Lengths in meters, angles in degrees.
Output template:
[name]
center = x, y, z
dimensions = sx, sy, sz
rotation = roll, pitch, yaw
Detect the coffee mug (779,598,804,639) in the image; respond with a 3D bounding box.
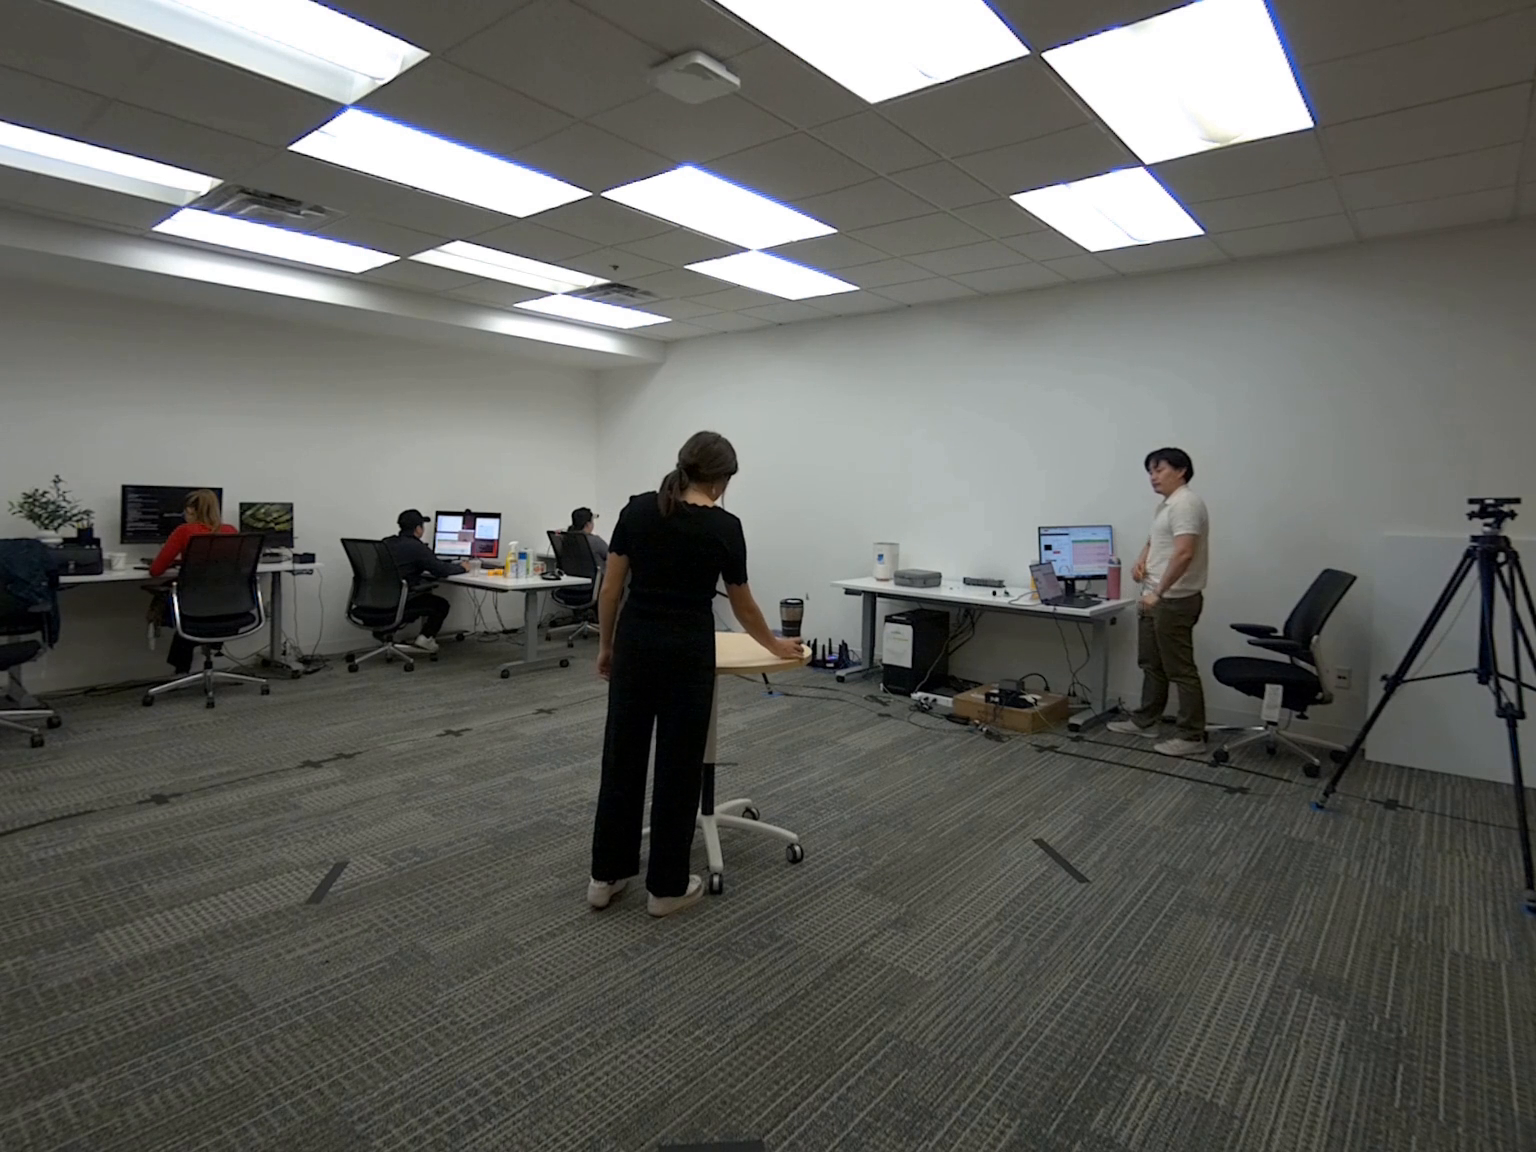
[coffee mug]
center = 0.088, 0.184, 3.124
dimensions = 0.090, 0.202, 0.120
rotation = 0, 7, 23
